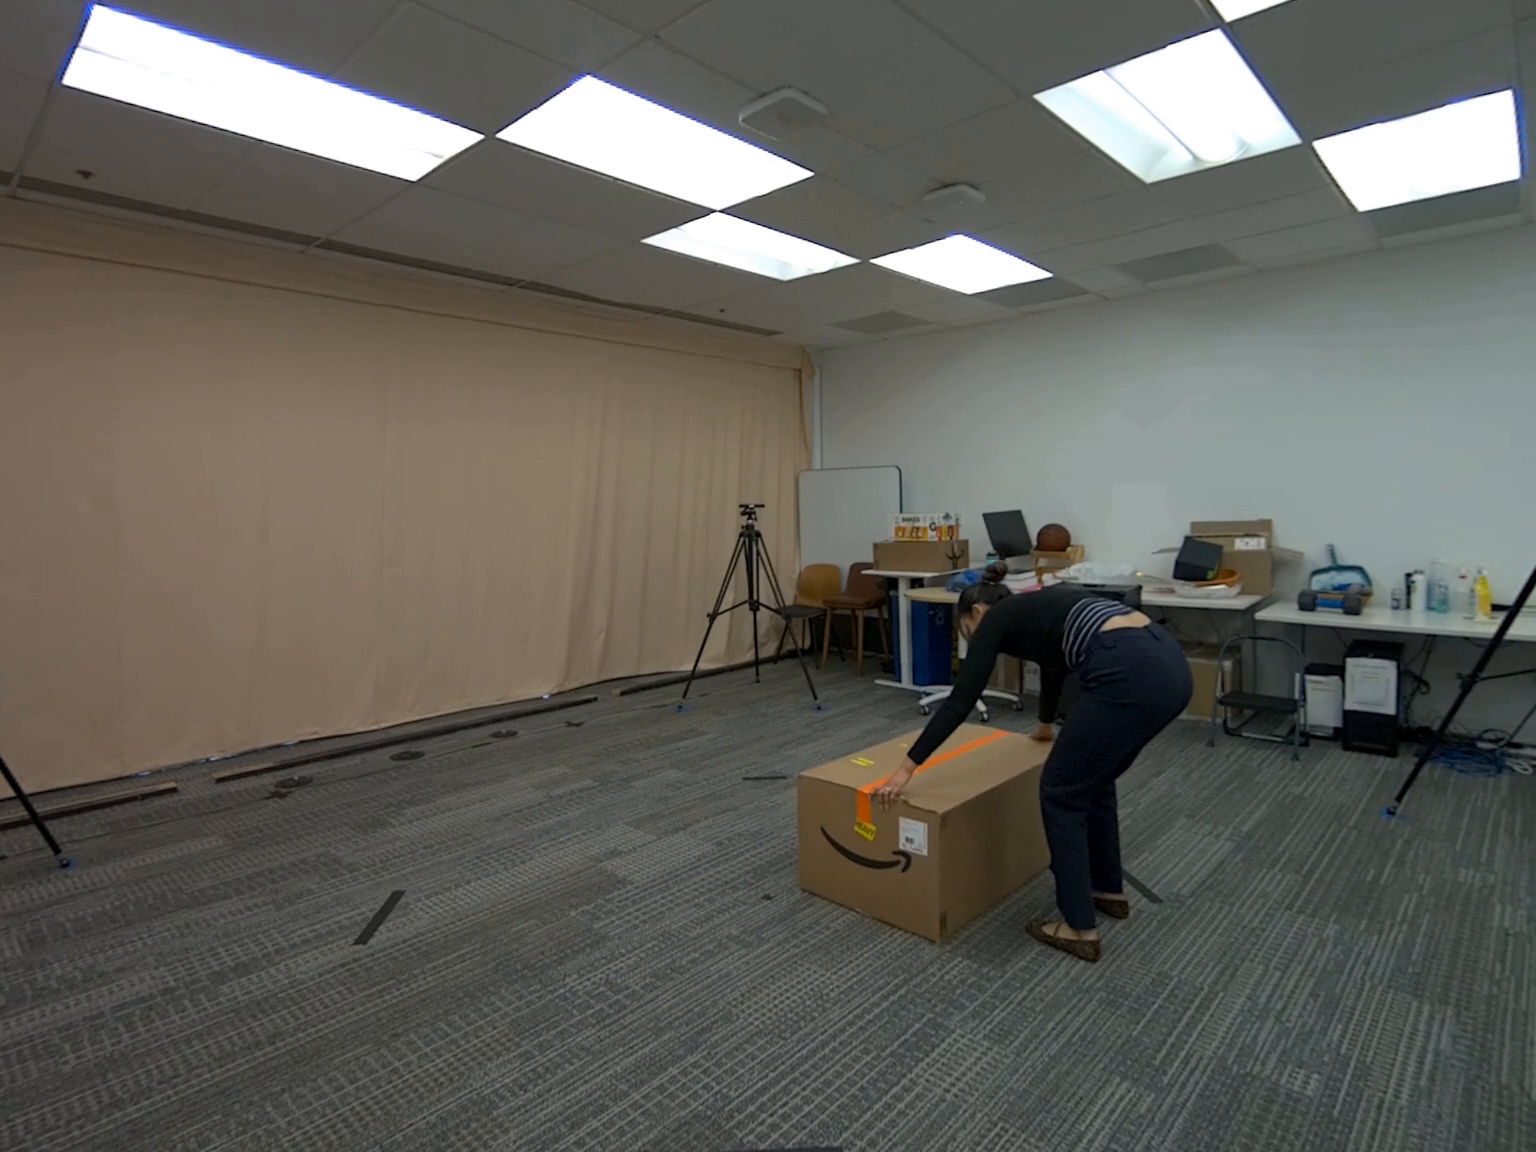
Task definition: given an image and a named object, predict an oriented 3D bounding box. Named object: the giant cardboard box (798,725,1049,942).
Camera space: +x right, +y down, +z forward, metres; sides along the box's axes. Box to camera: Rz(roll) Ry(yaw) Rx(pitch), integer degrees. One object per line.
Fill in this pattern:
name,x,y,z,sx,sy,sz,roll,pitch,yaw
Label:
giant cardboard box,0.661,0.897,3.184,0.597,0.425,0.995,3,6,43
